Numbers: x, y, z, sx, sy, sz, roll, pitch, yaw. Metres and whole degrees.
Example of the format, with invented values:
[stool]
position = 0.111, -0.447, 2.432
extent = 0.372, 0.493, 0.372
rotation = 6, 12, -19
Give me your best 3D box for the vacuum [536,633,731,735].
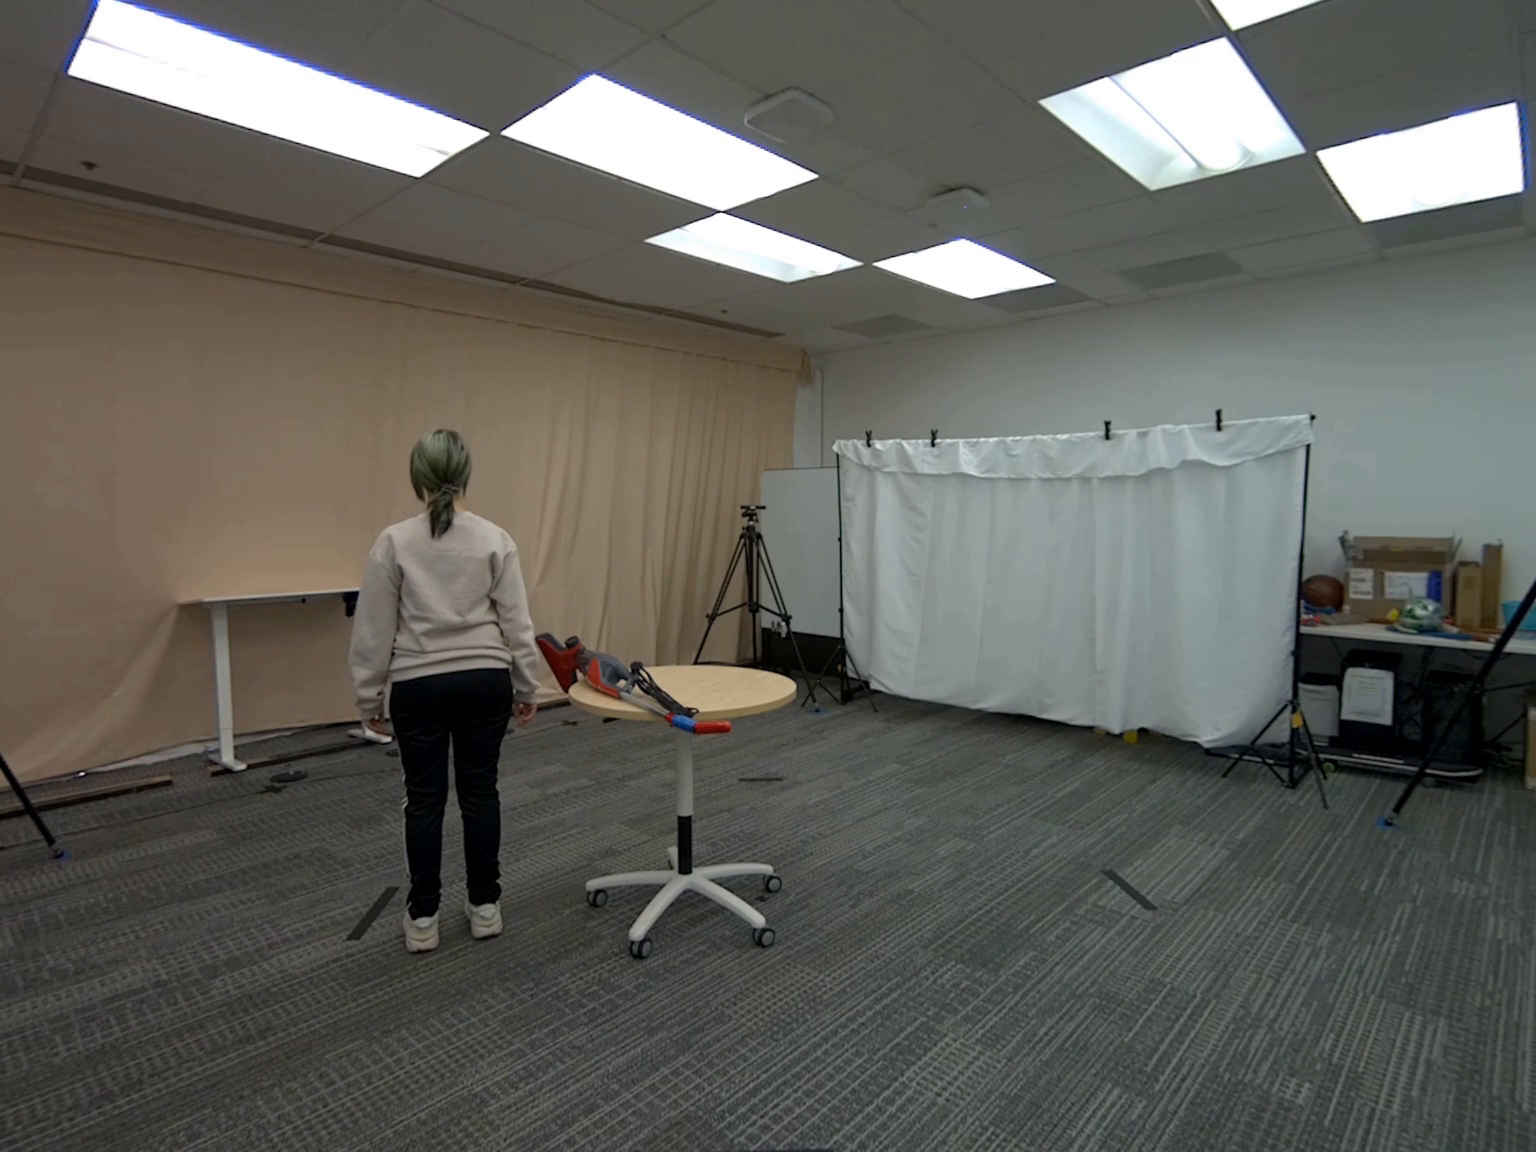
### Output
[vacuum]
position = -0.426, 0.353, 2.653
extent = 0.142, 0.247, 1.083
rotation = -37, 24, -27
